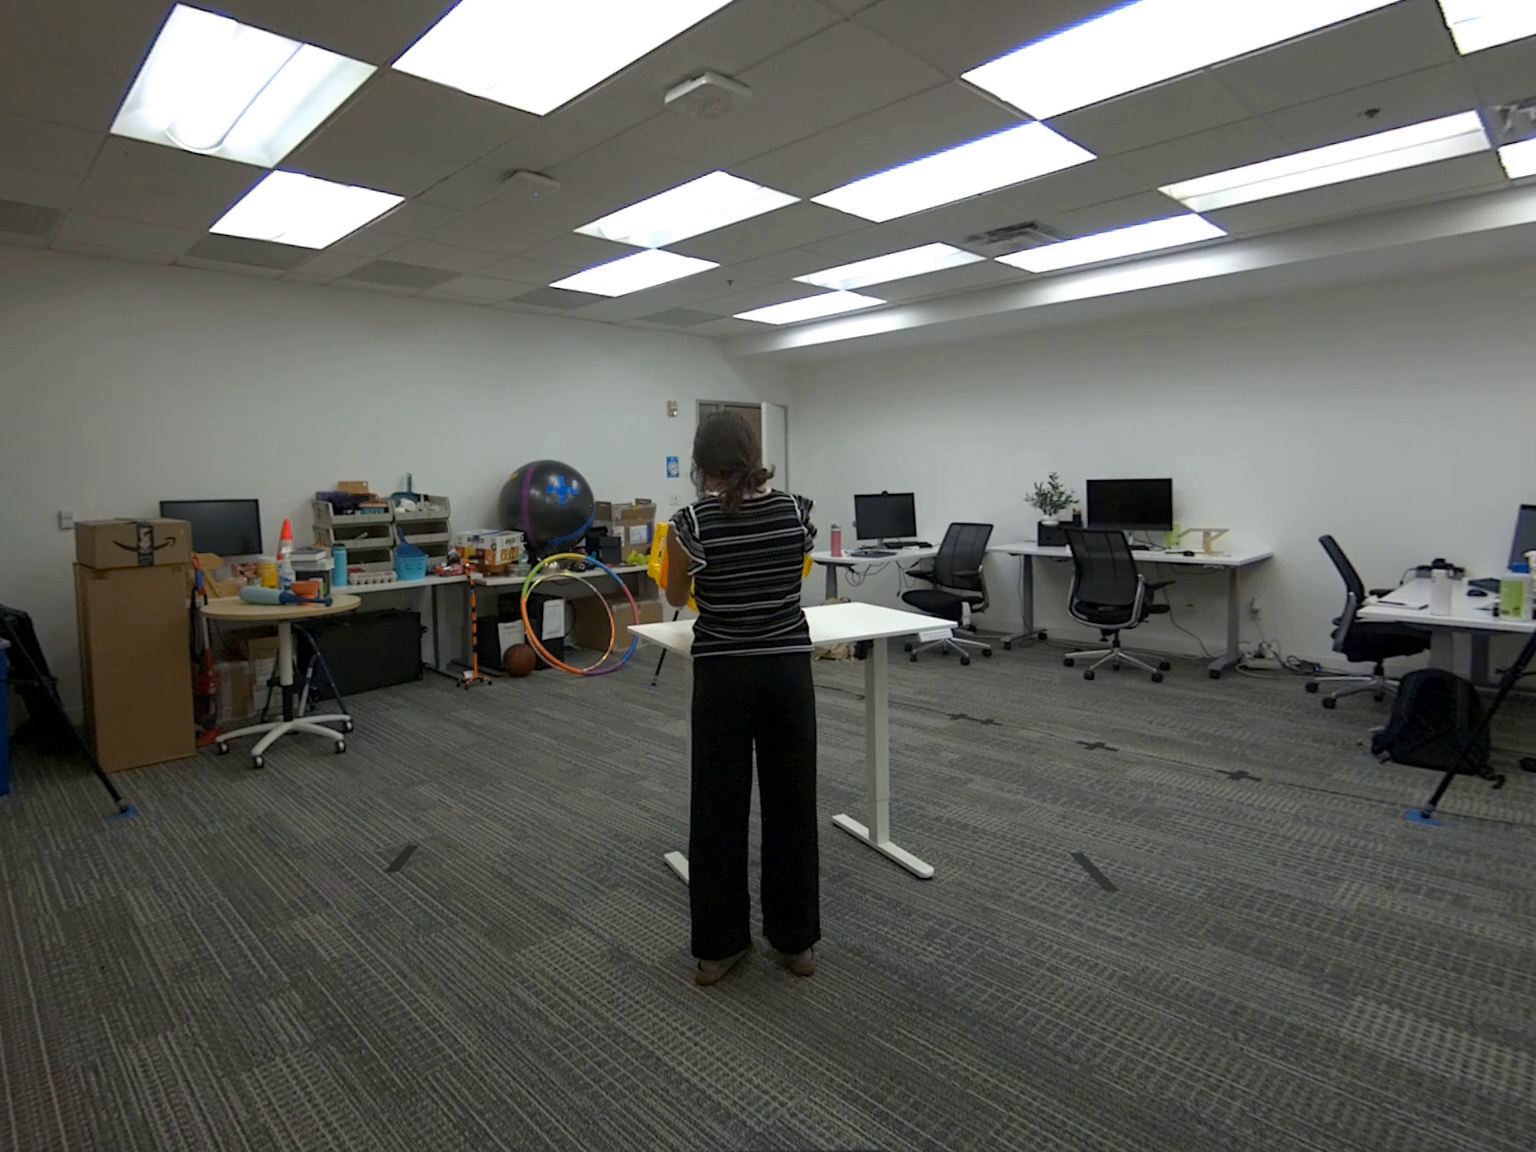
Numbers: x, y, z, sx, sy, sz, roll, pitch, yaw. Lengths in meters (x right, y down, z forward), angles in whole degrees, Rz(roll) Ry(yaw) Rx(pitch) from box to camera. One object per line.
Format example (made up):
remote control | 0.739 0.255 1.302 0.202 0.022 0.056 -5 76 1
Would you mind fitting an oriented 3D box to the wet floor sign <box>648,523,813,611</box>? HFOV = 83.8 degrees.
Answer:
wet floor sign | -0.198 -0.017 2.842 0.281 0.280 0.670 1 14 -43
